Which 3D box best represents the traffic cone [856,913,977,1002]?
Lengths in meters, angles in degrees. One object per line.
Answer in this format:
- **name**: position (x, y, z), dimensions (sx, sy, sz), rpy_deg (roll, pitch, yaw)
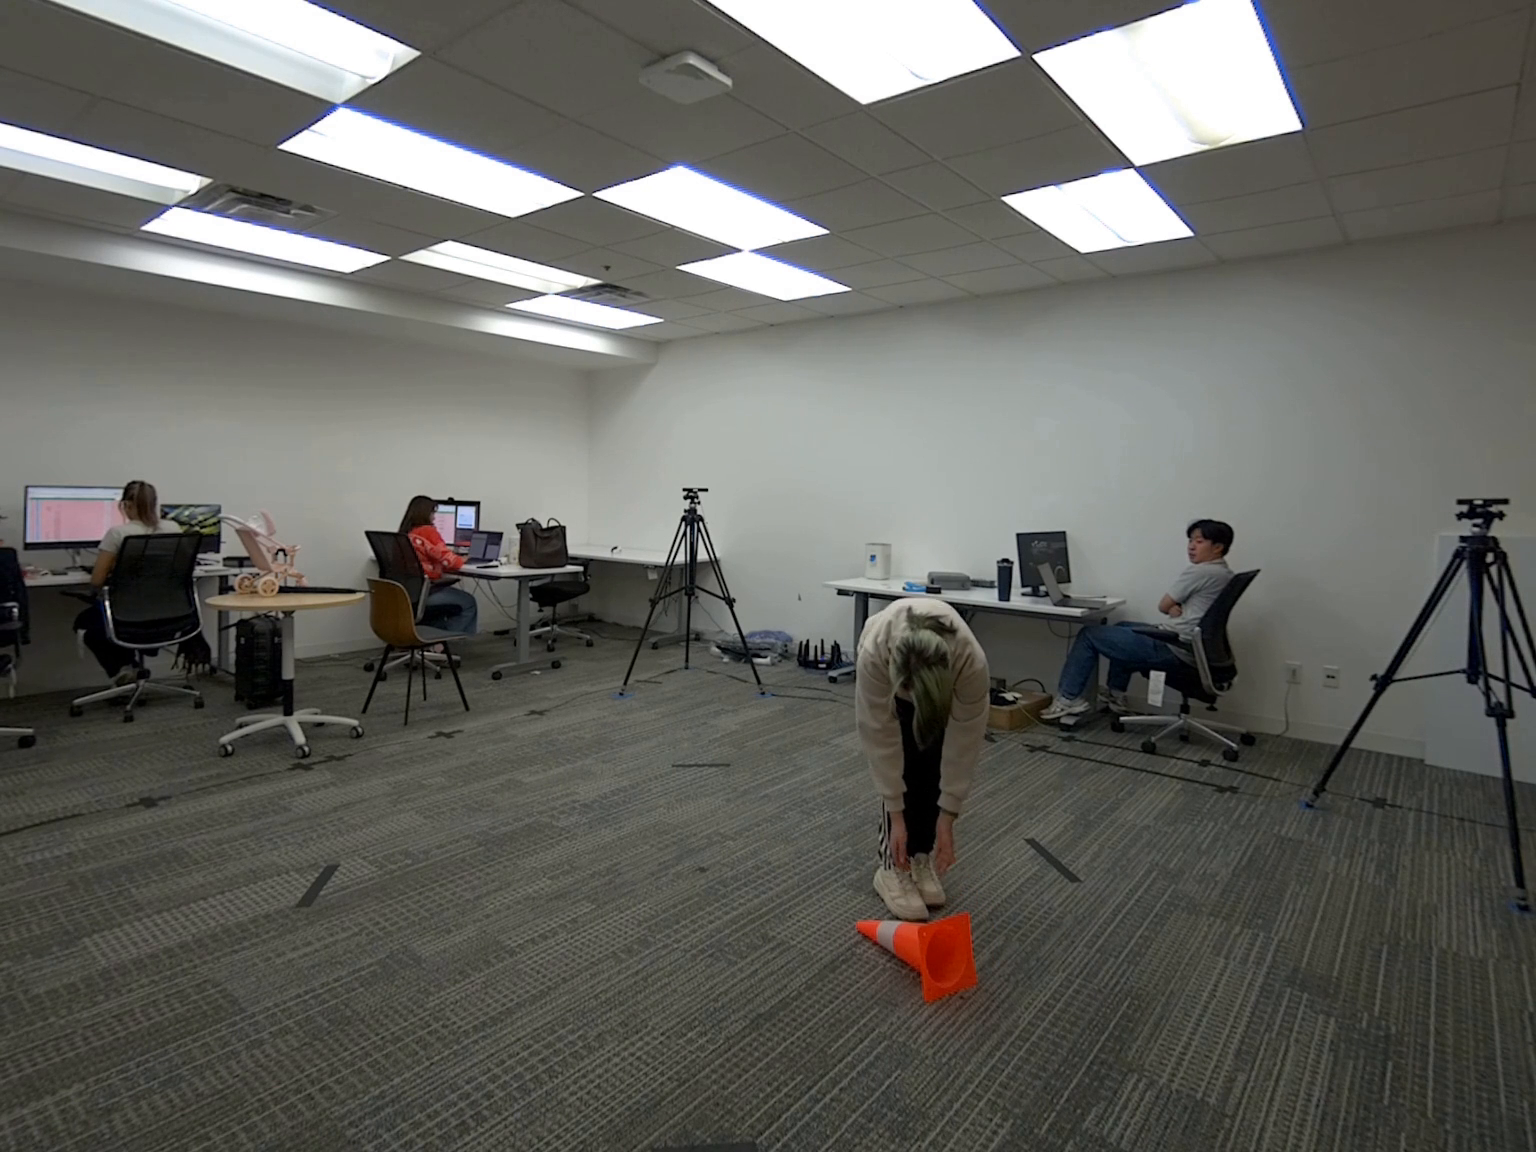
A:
- **traffic cone**: position (0.391, 1.084, 2.538), dimensions (0.198, 0.206, 0.392), rpy_deg (-3, -6, -35)
